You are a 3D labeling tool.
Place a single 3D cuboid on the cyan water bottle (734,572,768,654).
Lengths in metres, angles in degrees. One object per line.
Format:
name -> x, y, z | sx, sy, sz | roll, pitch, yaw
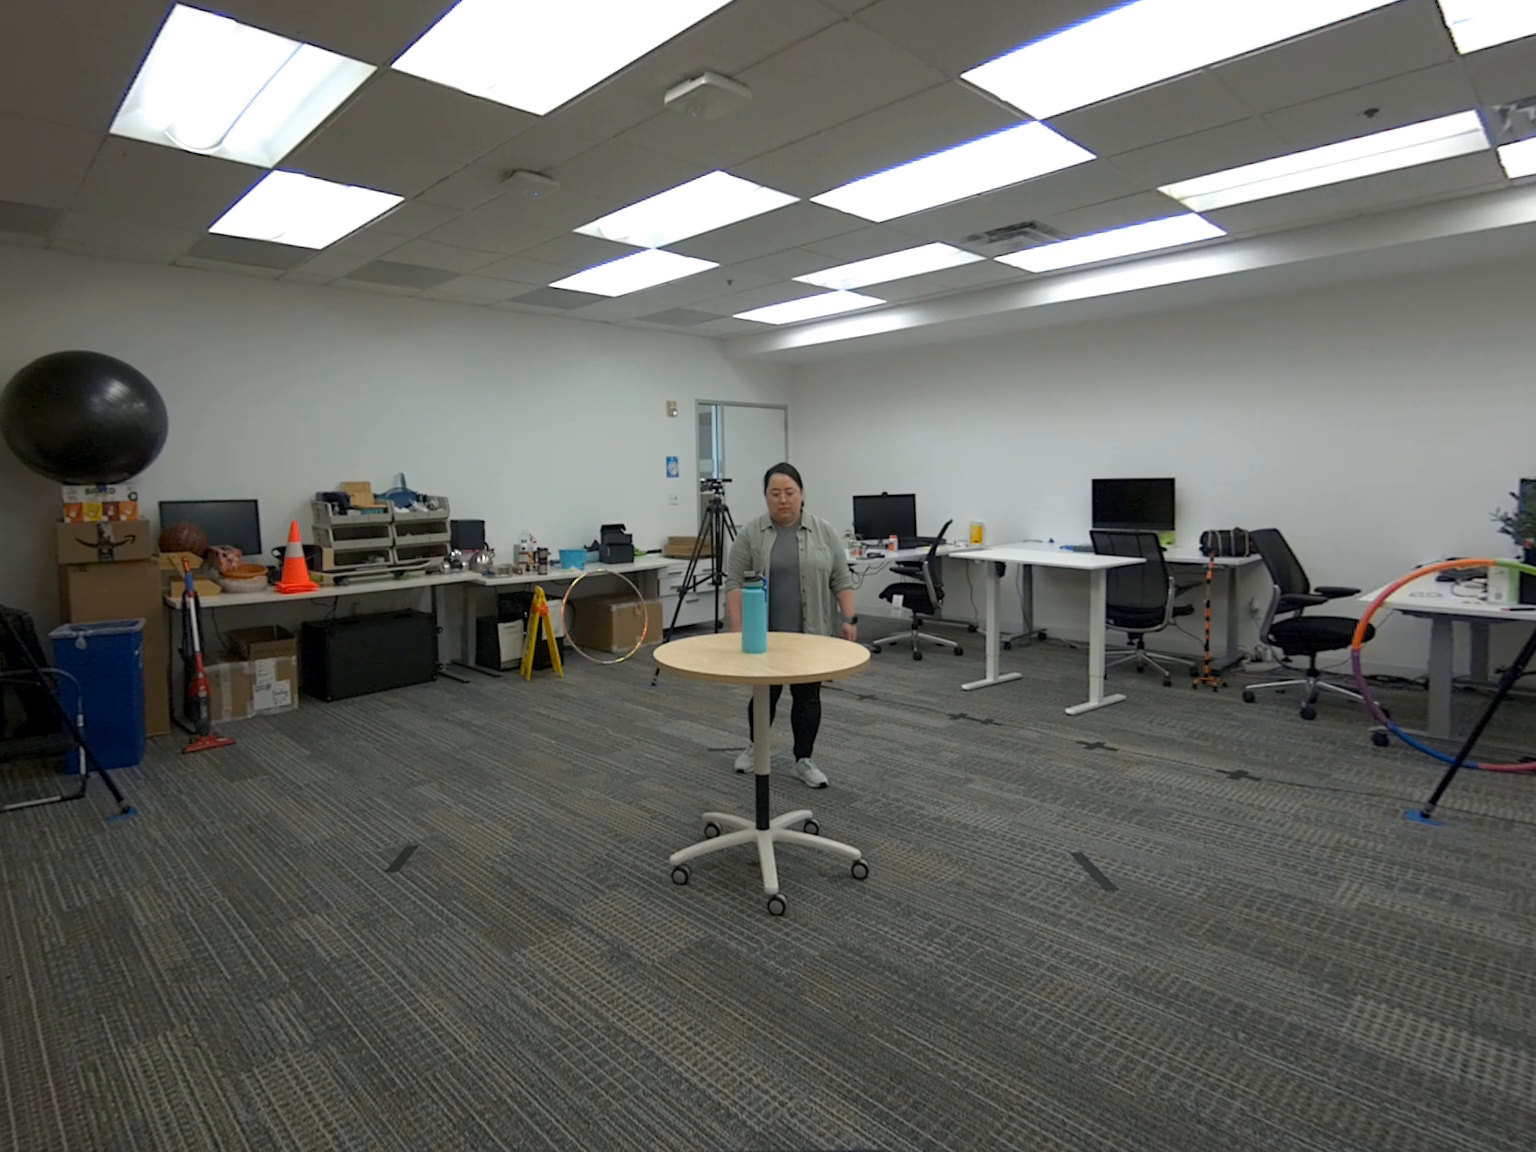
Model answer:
cyan water bottle -> -0.053, 0.132, 3.039 | 0.092, 0.282, 0.093 | 2, 4, -2
